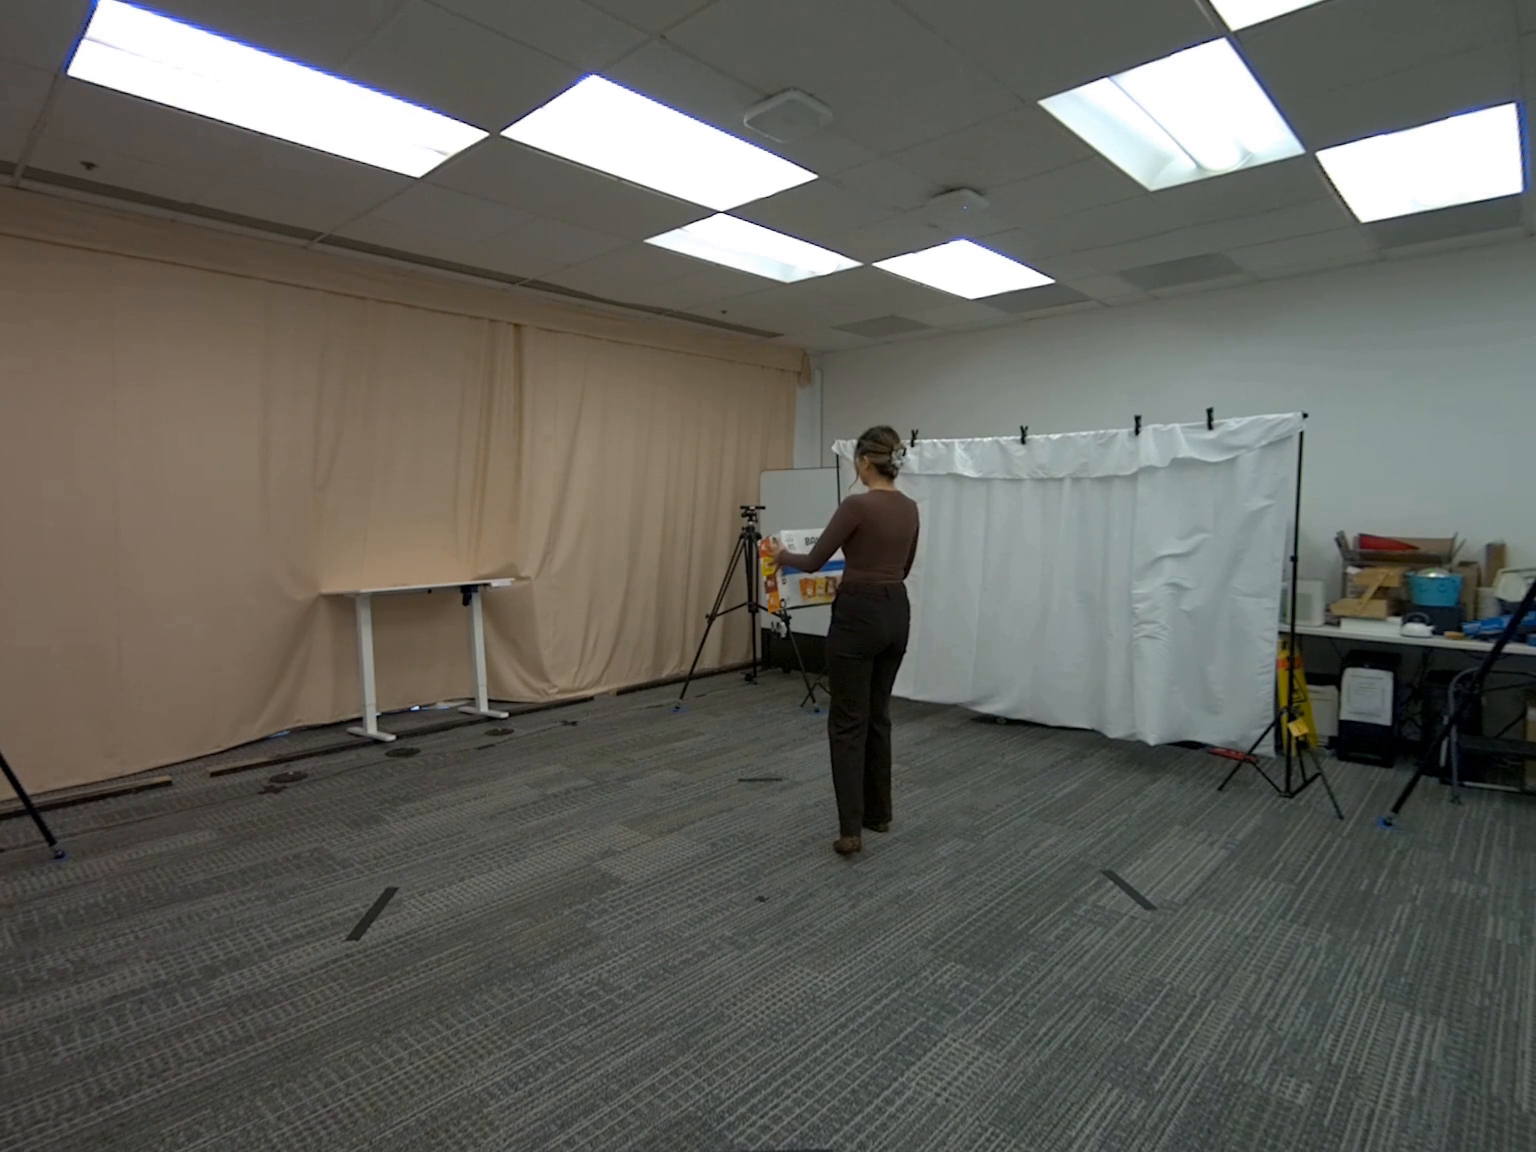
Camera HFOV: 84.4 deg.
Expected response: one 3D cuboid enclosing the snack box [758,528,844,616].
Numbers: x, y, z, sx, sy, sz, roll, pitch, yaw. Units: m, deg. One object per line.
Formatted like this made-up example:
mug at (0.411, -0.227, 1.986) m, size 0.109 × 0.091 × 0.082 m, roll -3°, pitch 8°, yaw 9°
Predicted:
snack box at (0.197, -0.034, 3.901) m, size 0.394 × 0.342 × 0.210 m, roll -5°, pitch -9°, yaw -30°
